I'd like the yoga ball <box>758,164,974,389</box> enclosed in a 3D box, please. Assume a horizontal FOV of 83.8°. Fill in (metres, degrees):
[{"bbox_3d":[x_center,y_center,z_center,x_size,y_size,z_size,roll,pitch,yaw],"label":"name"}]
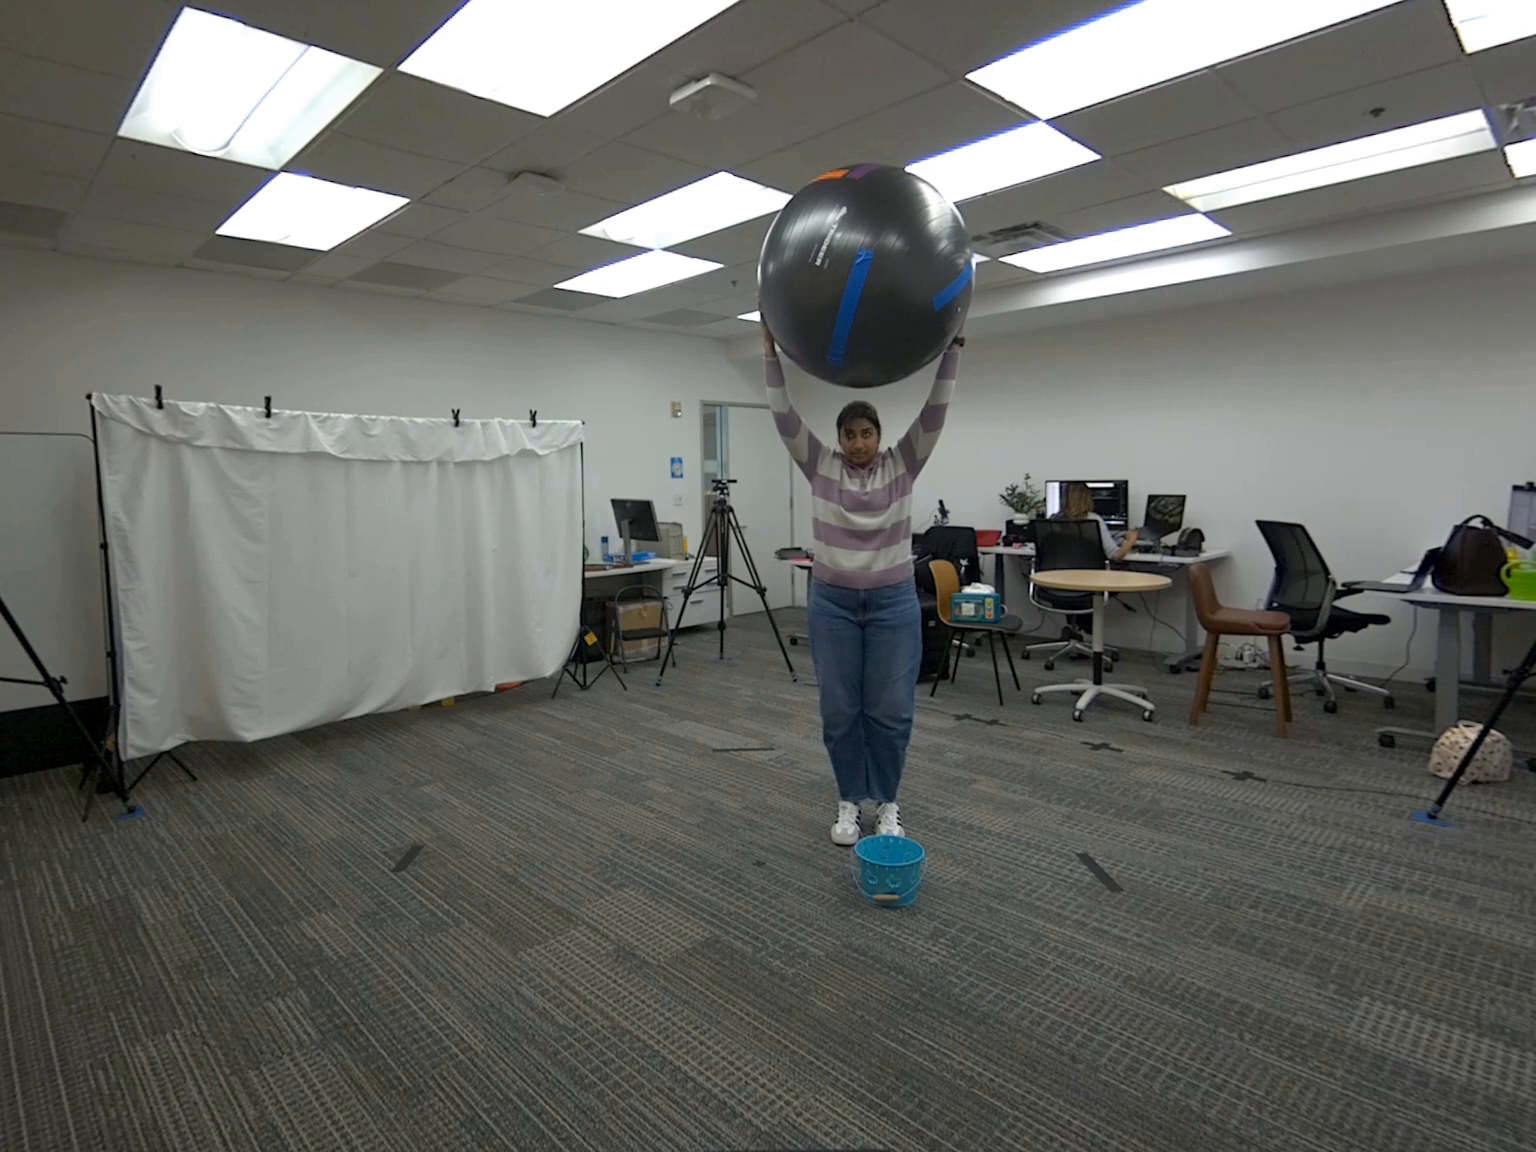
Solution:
[{"bbox_3d":[0.342,-1.043,3.027,0.757,0.755,0.762,-1,5,-2],"label":"yoga ball"}]
